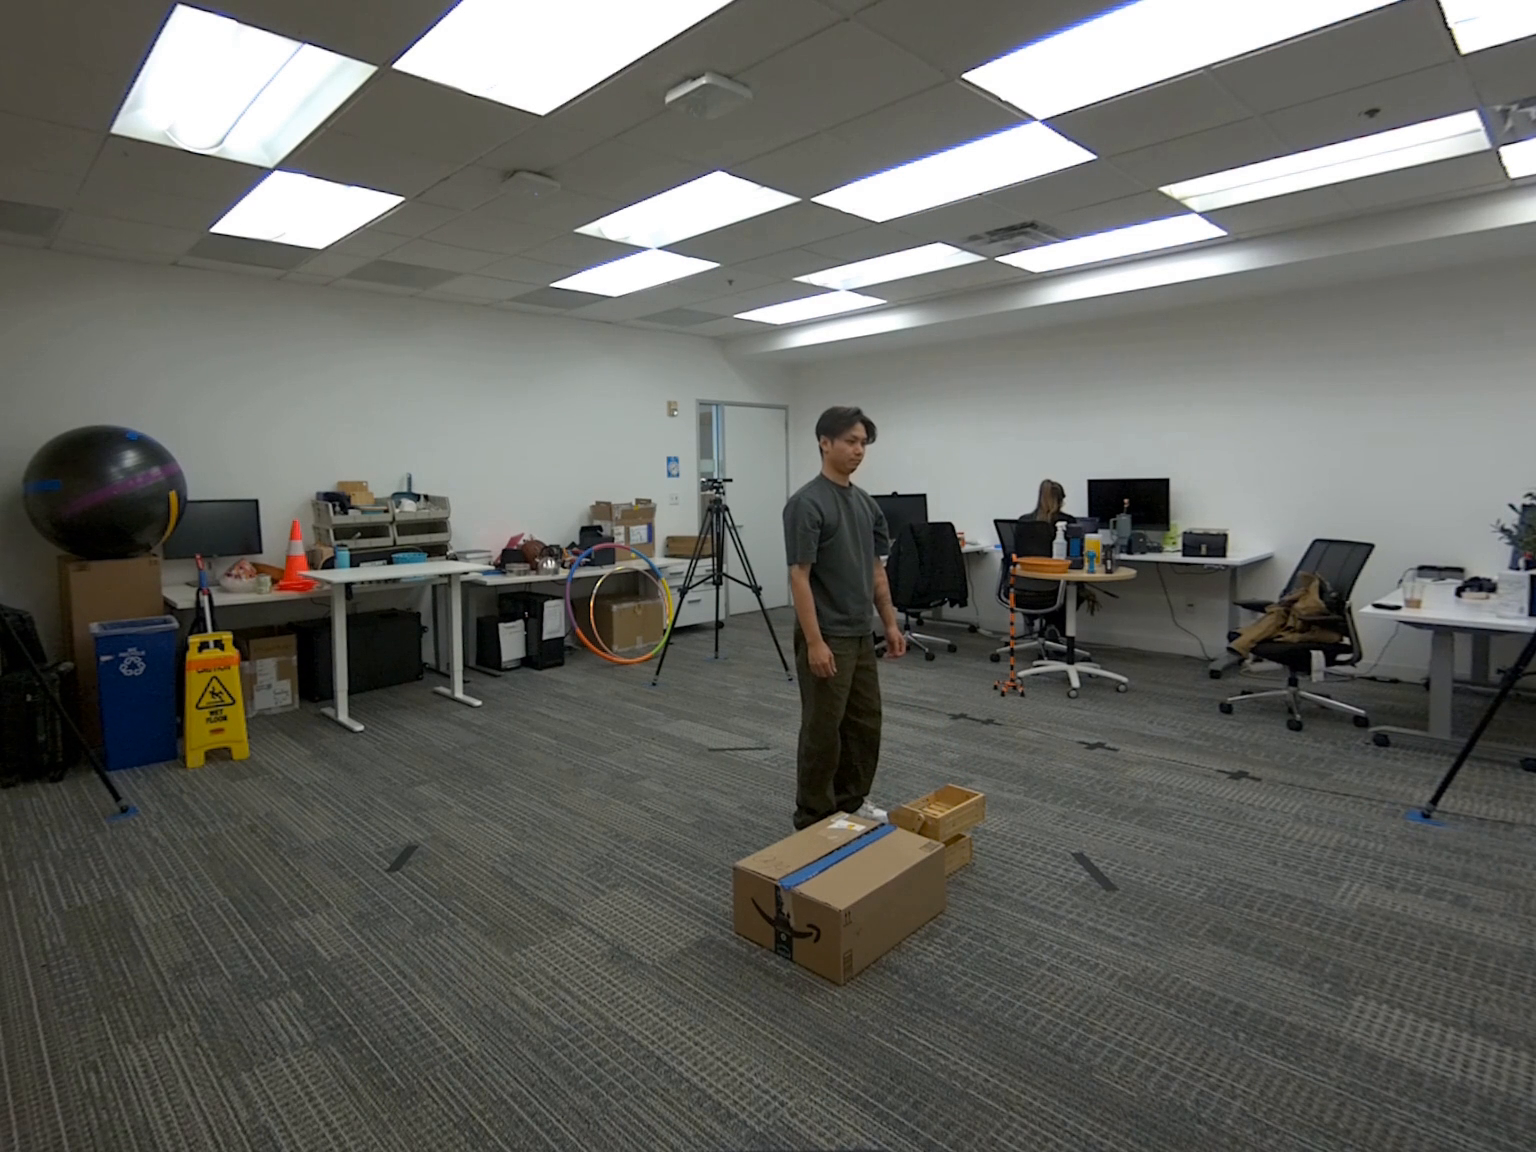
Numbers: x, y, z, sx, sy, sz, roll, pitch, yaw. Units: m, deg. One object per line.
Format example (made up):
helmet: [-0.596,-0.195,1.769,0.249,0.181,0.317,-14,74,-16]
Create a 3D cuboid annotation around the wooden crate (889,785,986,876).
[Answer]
wooden crate: [0.564,0.903,3.061,0.316,0.272,0.311,-5,6,-44]
